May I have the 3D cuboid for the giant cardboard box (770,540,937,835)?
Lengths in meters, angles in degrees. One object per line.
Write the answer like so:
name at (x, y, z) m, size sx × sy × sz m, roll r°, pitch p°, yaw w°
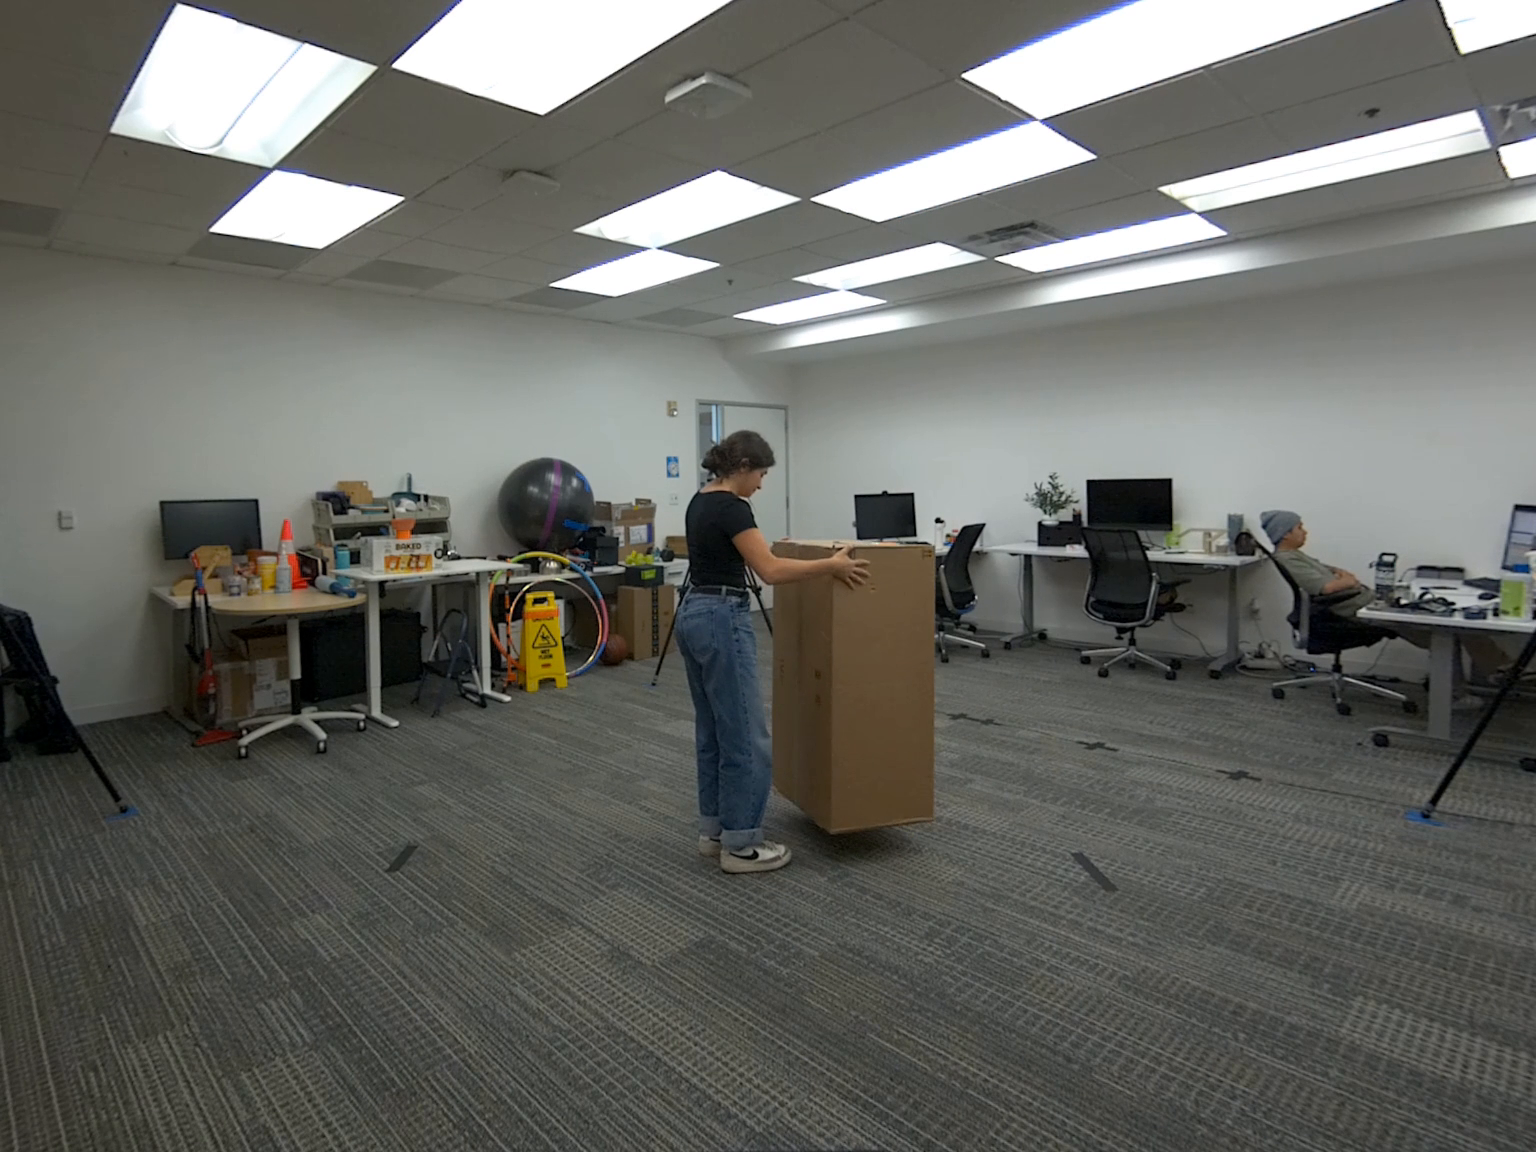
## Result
giant cardboard box at (0.320, 0.387, 3.355) m, size 0.418 × 1.025 × 0.589 m, roll 0°, pitch 2°, yaw -21°
